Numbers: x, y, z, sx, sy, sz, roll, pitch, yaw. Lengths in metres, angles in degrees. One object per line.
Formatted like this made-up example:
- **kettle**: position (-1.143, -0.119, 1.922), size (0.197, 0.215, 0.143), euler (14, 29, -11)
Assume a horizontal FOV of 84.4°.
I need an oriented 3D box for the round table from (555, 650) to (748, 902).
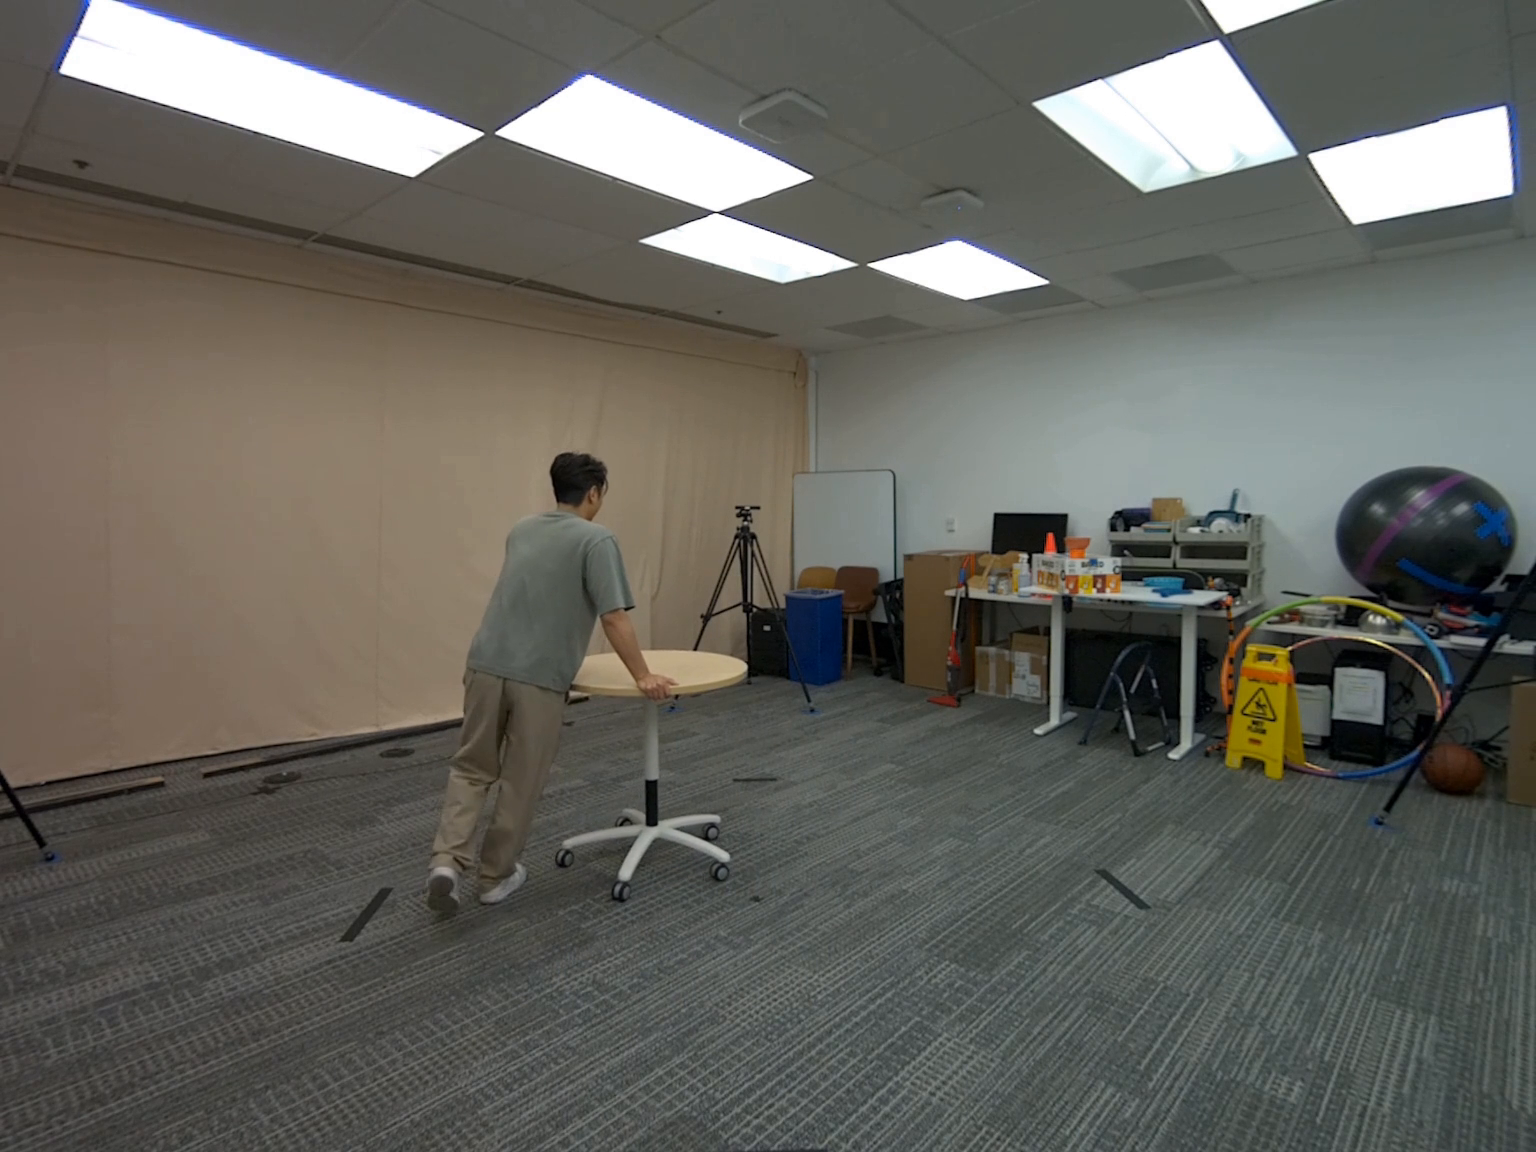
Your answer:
- **round table**: position (-0.447, 0.737, 3.286), size (0.784, 0.785, 0.788), euler (-1, 4, -2)
